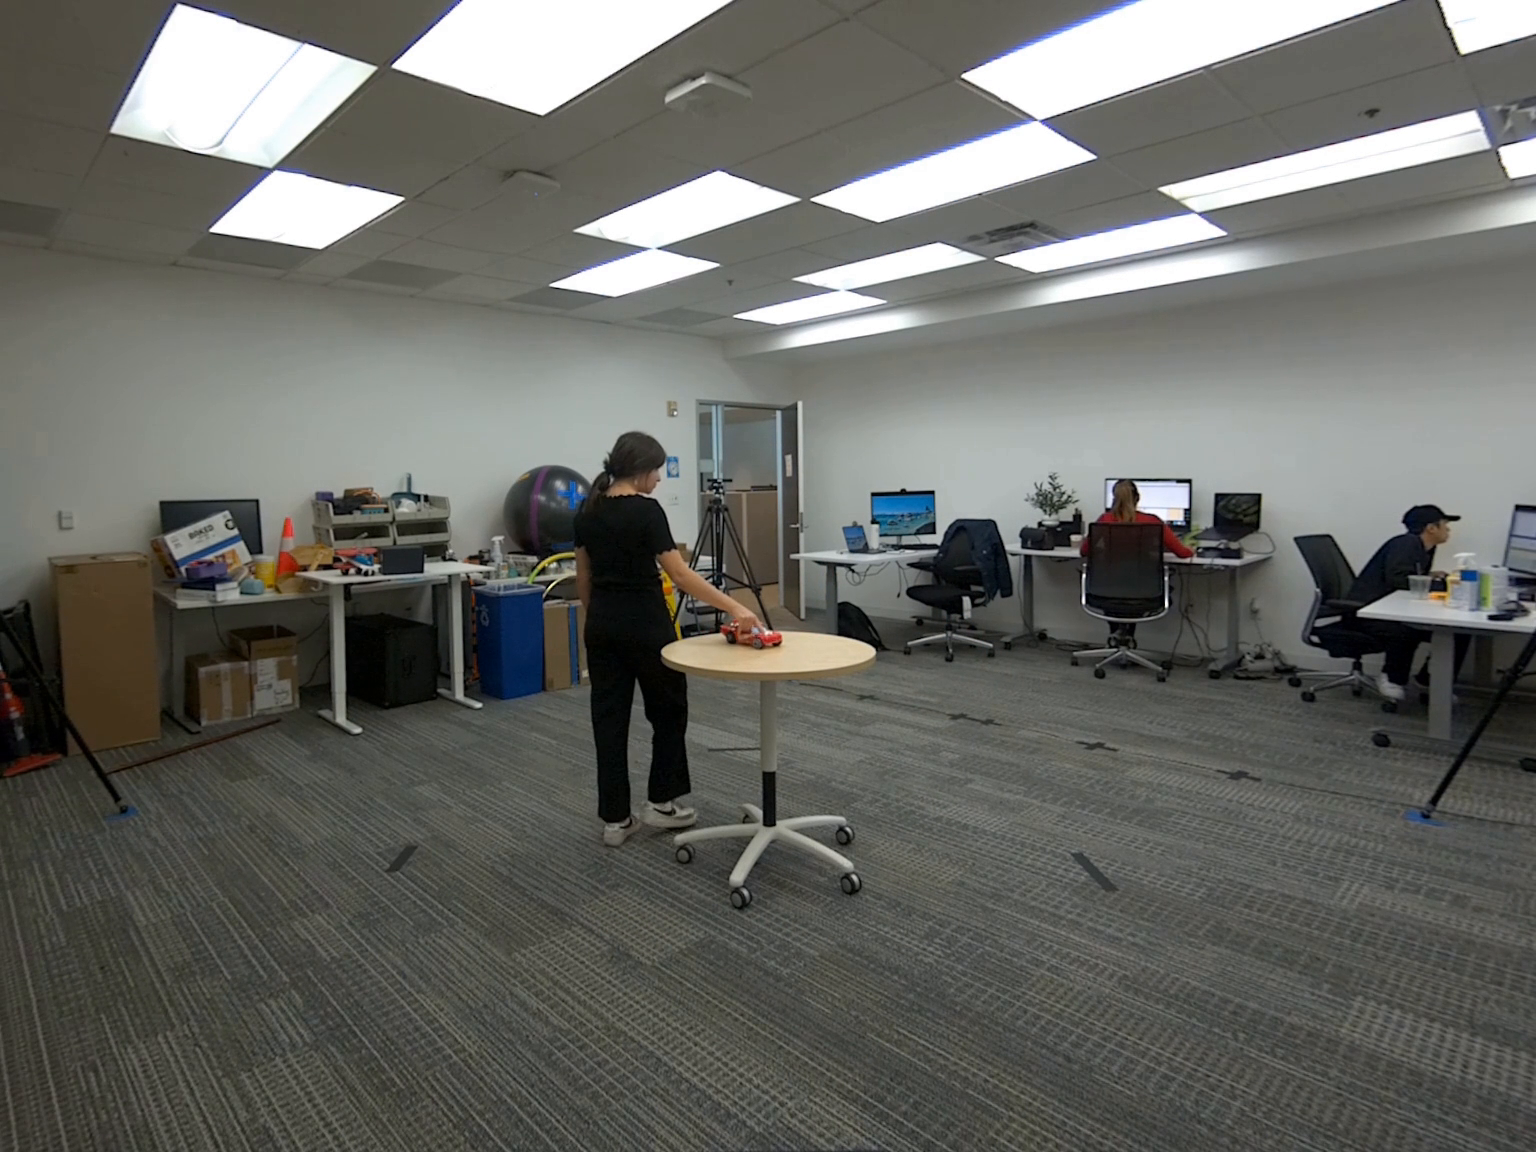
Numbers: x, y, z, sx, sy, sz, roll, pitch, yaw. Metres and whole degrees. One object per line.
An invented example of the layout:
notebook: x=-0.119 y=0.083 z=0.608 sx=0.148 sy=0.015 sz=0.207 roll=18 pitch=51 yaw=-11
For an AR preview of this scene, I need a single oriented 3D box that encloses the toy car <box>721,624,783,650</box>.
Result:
toy car: x=-0.064 y=0.220 z=3.180 sx=0.127 sy=0.082 sz=0.264 roll=-7 pitch=19 yaw=-42
